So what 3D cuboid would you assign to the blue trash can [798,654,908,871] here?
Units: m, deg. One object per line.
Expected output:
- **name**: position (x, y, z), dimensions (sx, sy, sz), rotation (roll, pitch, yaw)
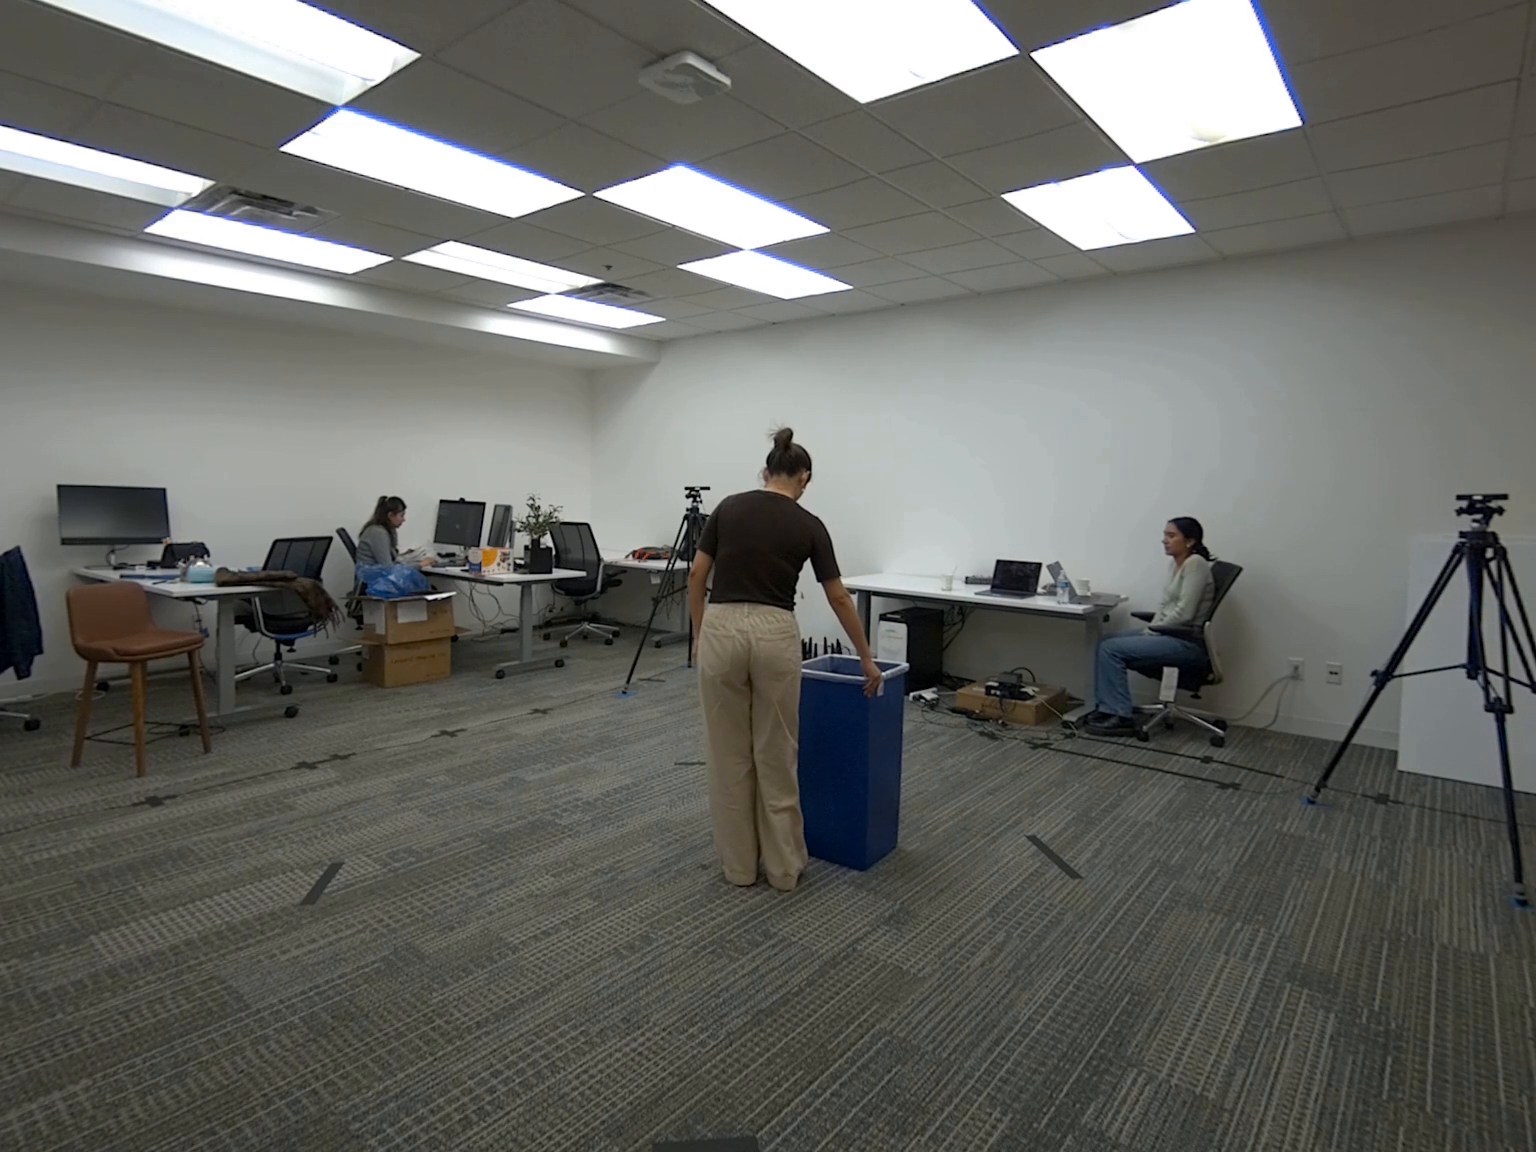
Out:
- **blue trash can**: position (0.303, 0.696, 3.295), dimensions (0.390, 0.711, 0.364), rotation (2, 4, 34)
